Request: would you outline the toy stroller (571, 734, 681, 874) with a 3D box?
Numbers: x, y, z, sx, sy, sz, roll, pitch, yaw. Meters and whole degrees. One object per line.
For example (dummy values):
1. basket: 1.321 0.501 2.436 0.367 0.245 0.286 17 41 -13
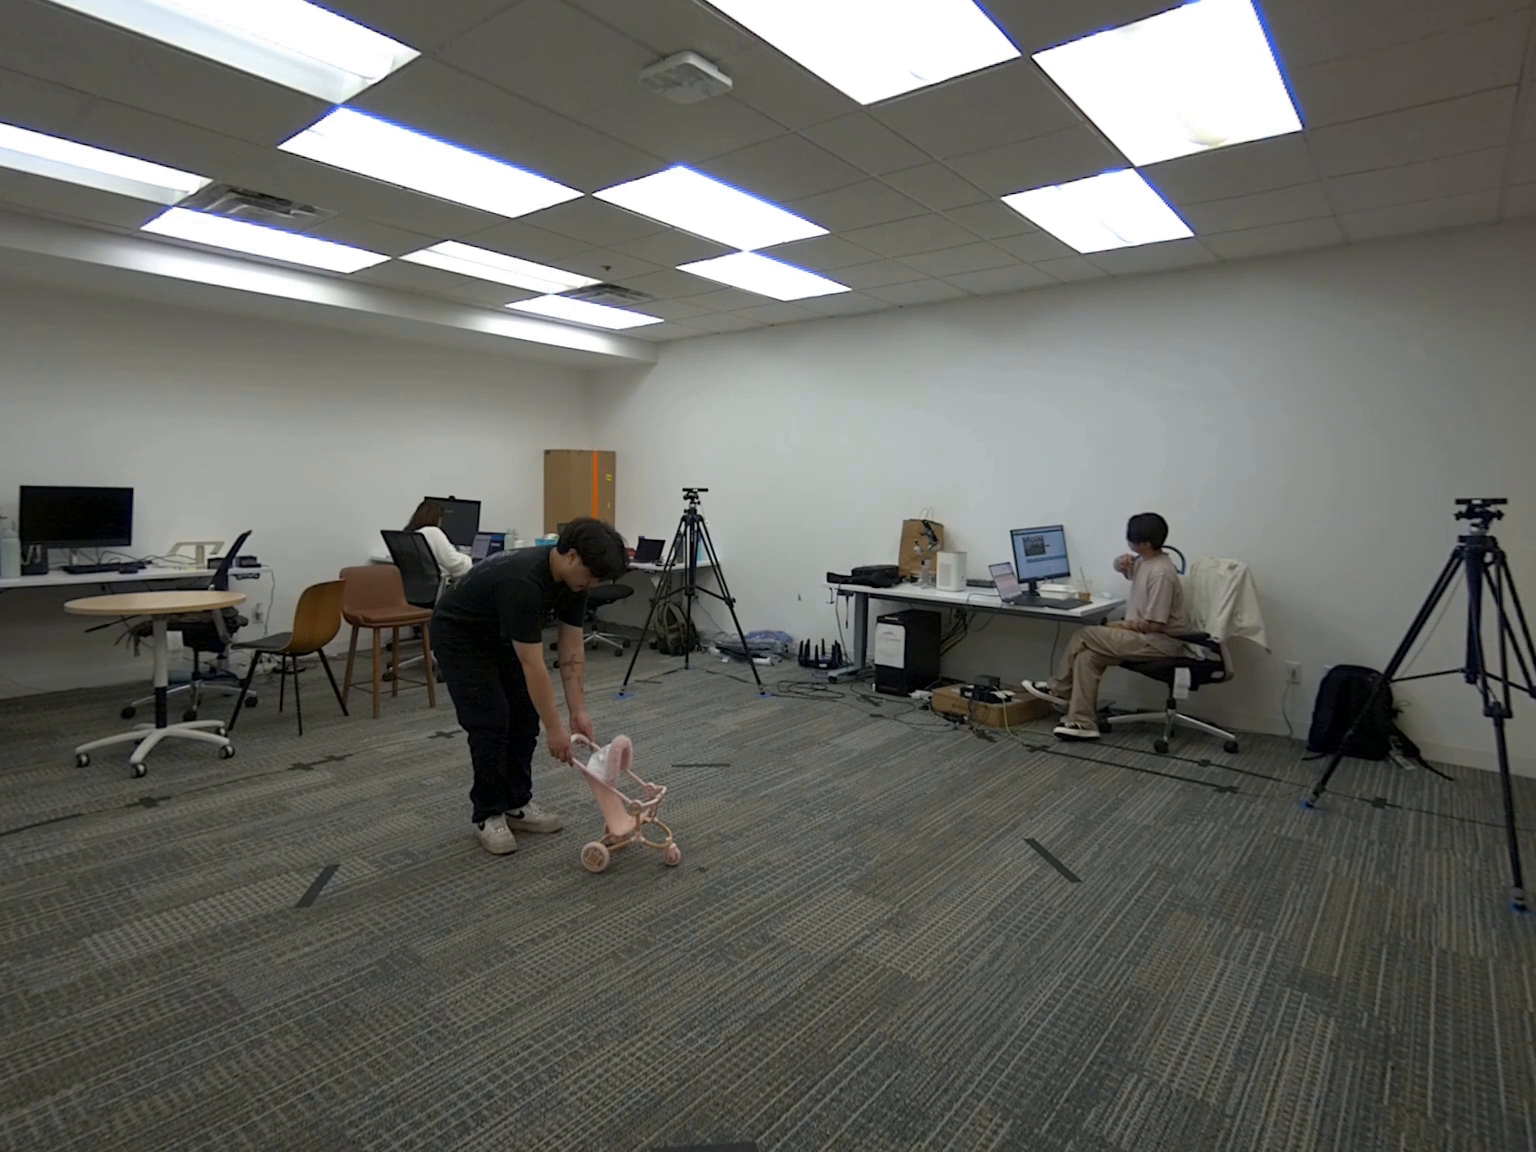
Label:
1. toy stroller: -0.550 0.834 3.164 0.346 0.535 0.278 -14 0 15
